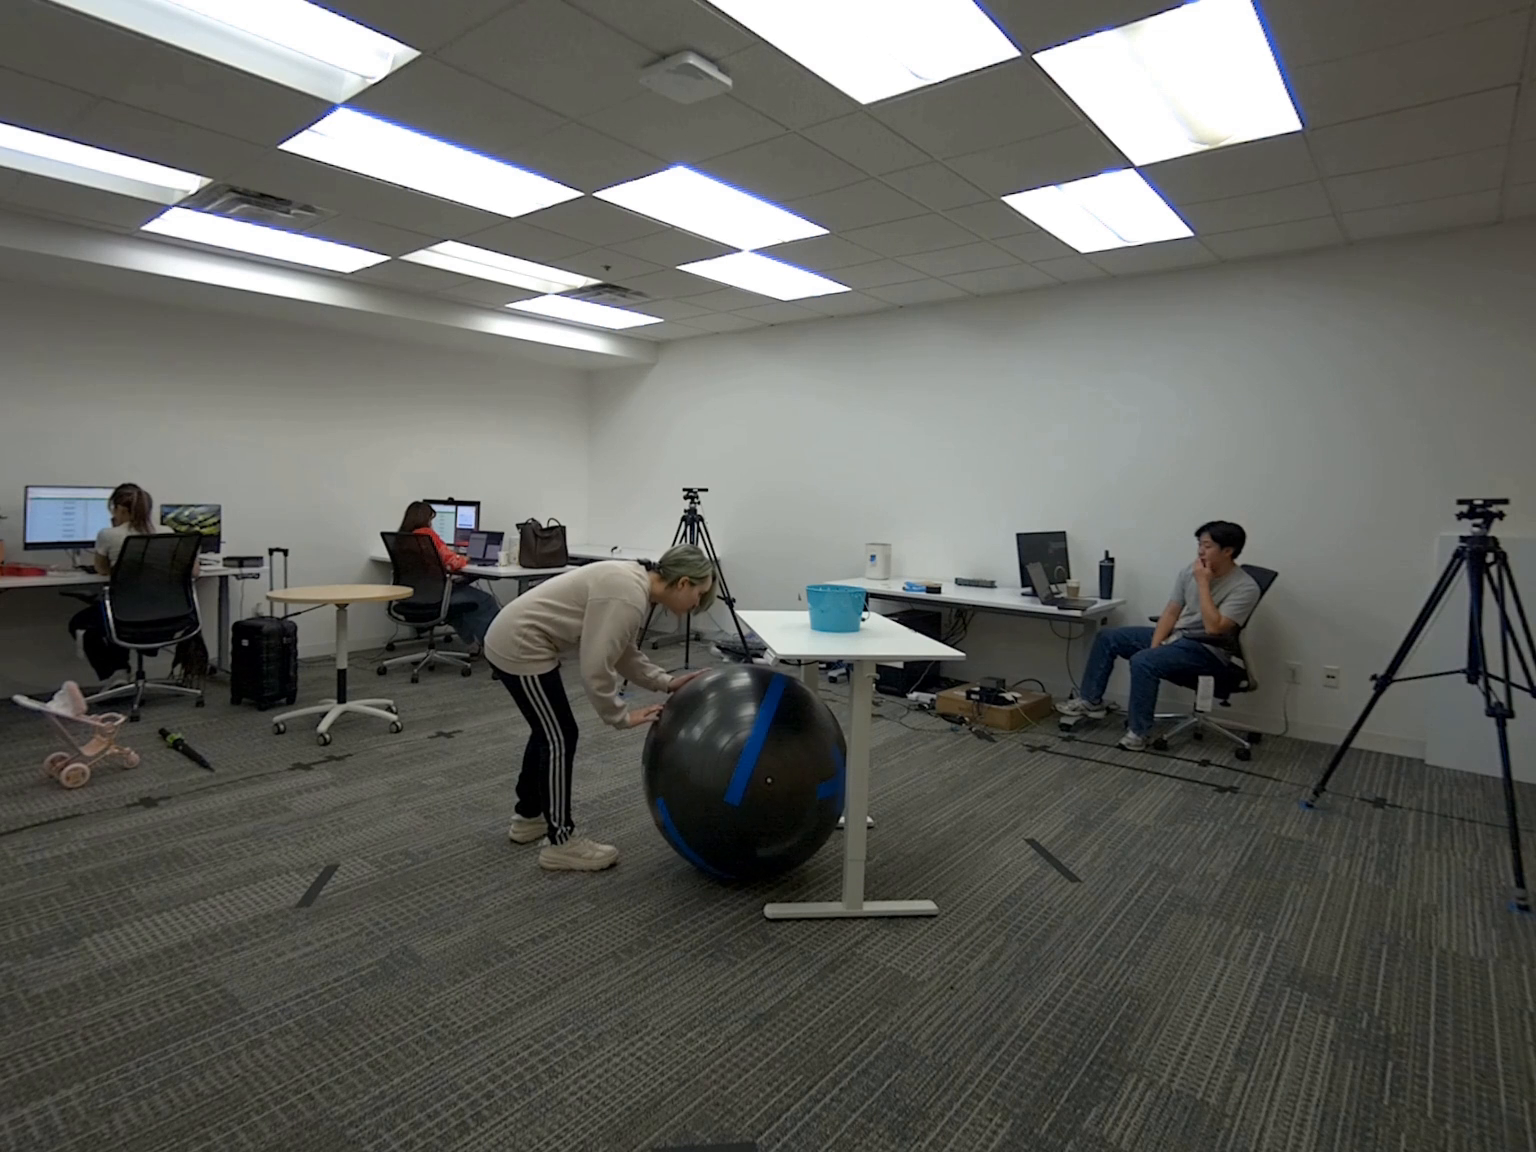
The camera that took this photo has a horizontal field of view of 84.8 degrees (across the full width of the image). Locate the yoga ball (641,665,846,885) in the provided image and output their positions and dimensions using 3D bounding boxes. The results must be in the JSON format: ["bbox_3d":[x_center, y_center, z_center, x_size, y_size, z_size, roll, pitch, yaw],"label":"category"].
[{"bbox_3d":[-0.092,0.705,3.111,0.757,0.755,0.762,1,4,-2],"label":"yoga ball"}]
